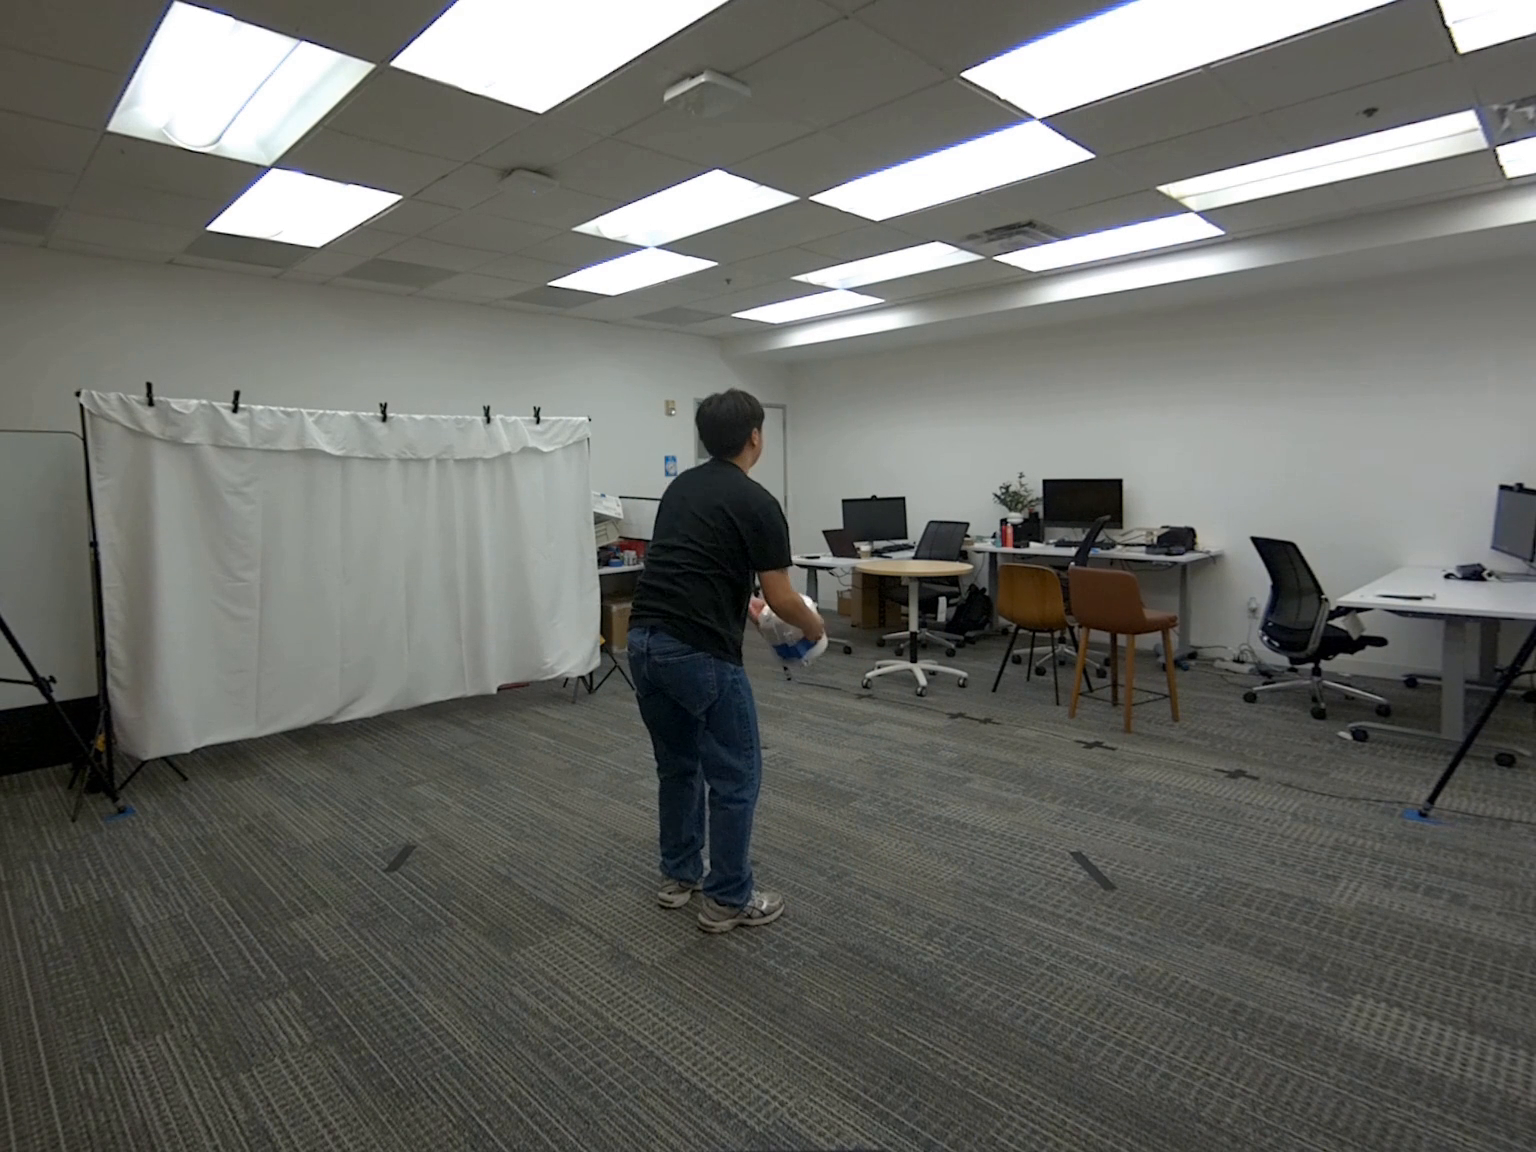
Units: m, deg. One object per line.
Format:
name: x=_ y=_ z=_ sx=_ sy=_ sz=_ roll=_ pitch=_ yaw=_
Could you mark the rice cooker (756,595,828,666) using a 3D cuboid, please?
rice cooker: x=0.080 y=0.189 z=3.030 sx=0.218 sy=0.228 sz=0.224 roll=-32 pitch=21 yaw=-35
